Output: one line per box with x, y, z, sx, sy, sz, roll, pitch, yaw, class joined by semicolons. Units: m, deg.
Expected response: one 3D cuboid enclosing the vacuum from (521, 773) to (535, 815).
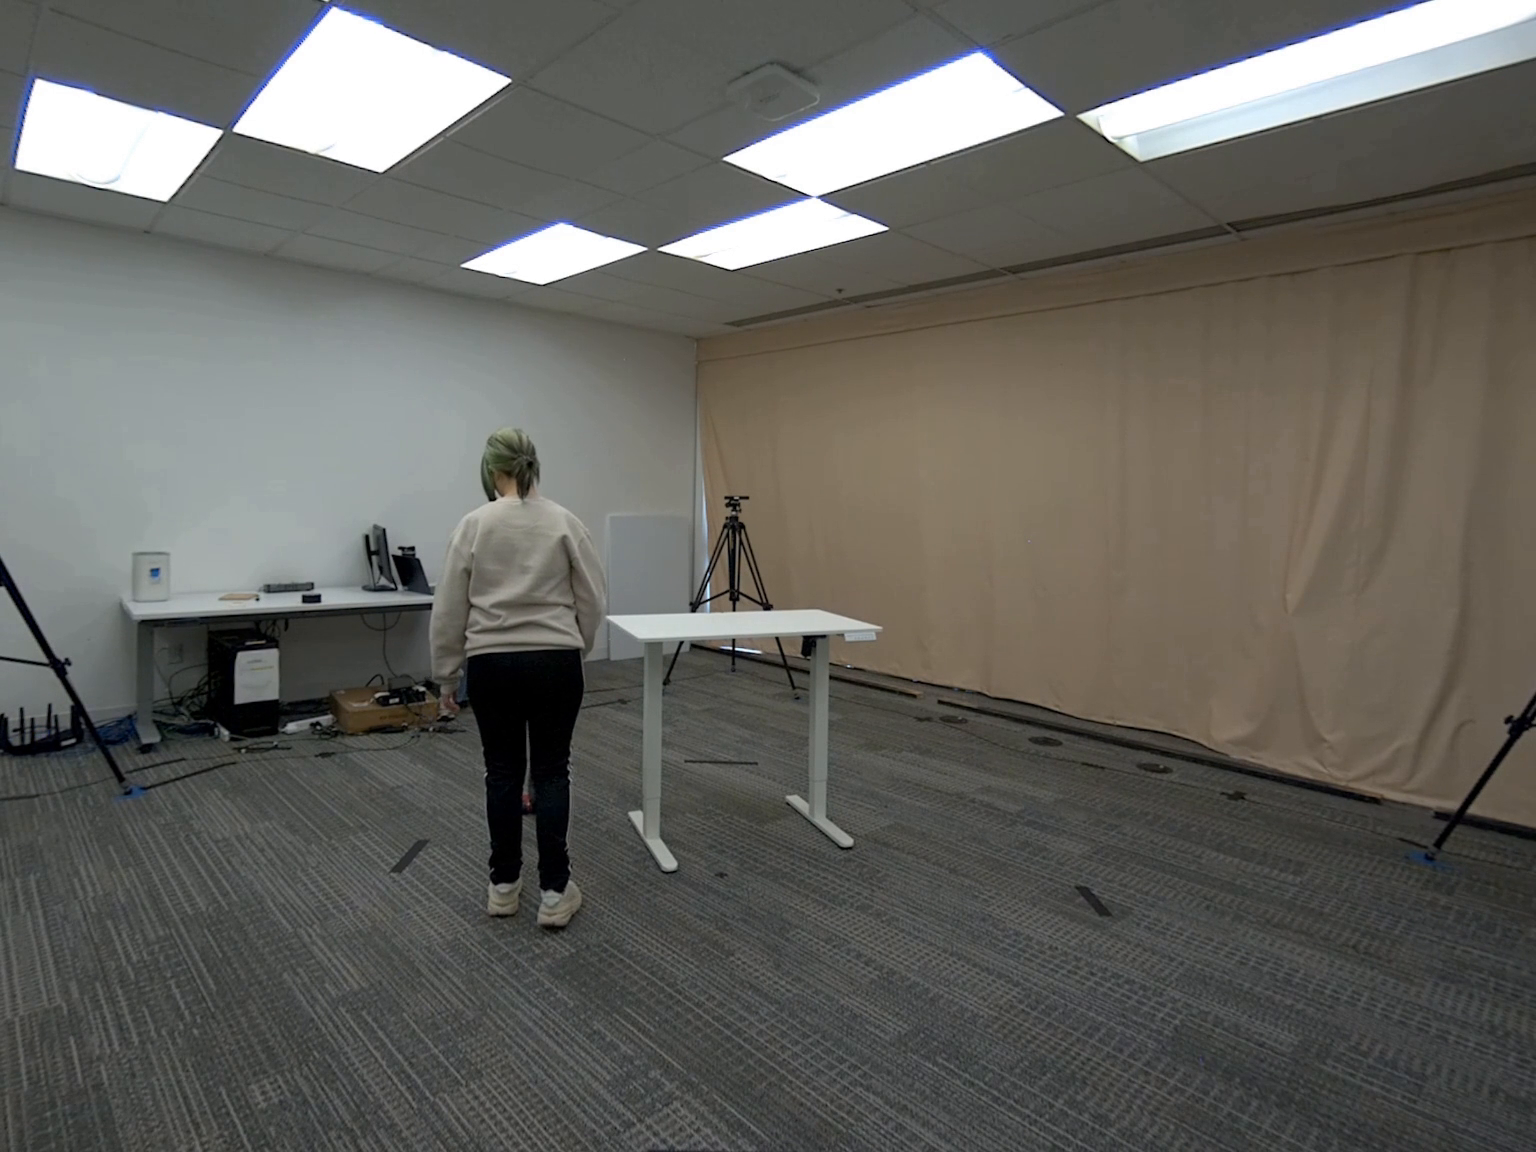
-0.884;0.685;3.361;0.248;0.148;1.039;-5;-37;-28;vacuum
